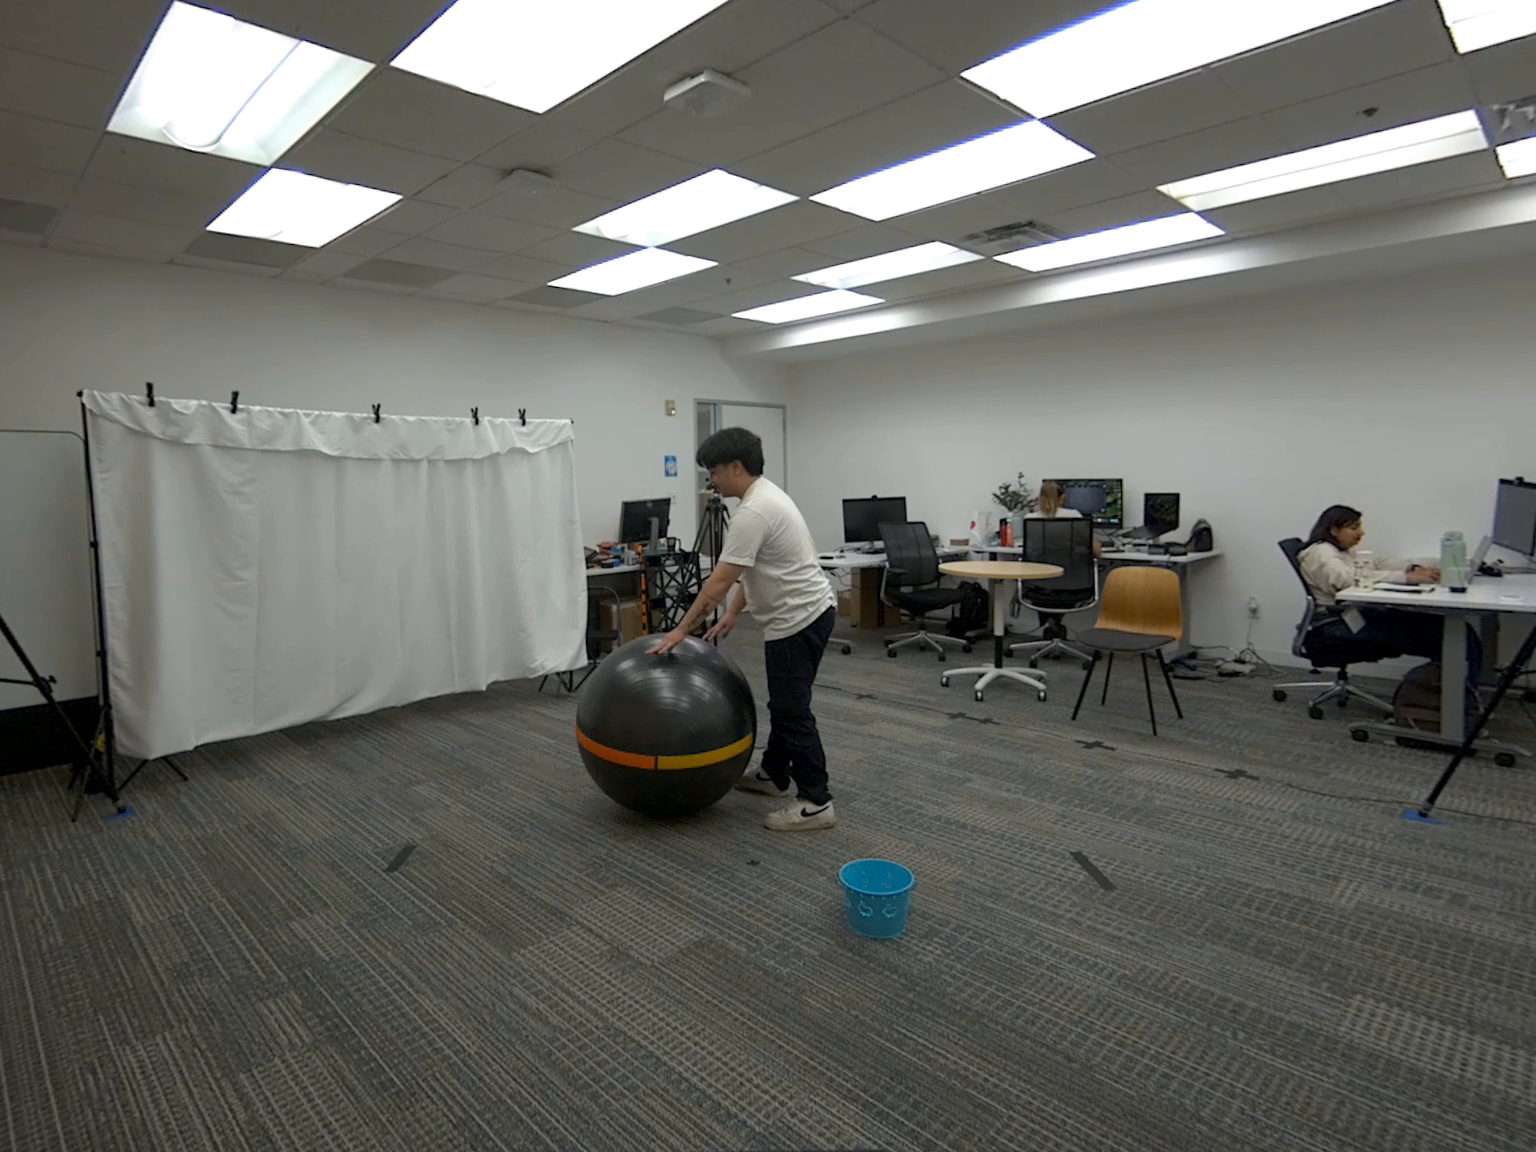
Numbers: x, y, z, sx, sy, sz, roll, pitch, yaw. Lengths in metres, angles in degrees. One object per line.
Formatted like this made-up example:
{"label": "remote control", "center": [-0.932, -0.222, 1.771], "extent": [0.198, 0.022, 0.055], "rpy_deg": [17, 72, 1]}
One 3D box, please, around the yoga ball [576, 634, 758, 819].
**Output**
{"label": "yoga ball", "center": [-0.425, 0.622, 3.614], "extent": [0.757, 0.755, 0.762], "rpy_deg": [-1, 5, -2]}
